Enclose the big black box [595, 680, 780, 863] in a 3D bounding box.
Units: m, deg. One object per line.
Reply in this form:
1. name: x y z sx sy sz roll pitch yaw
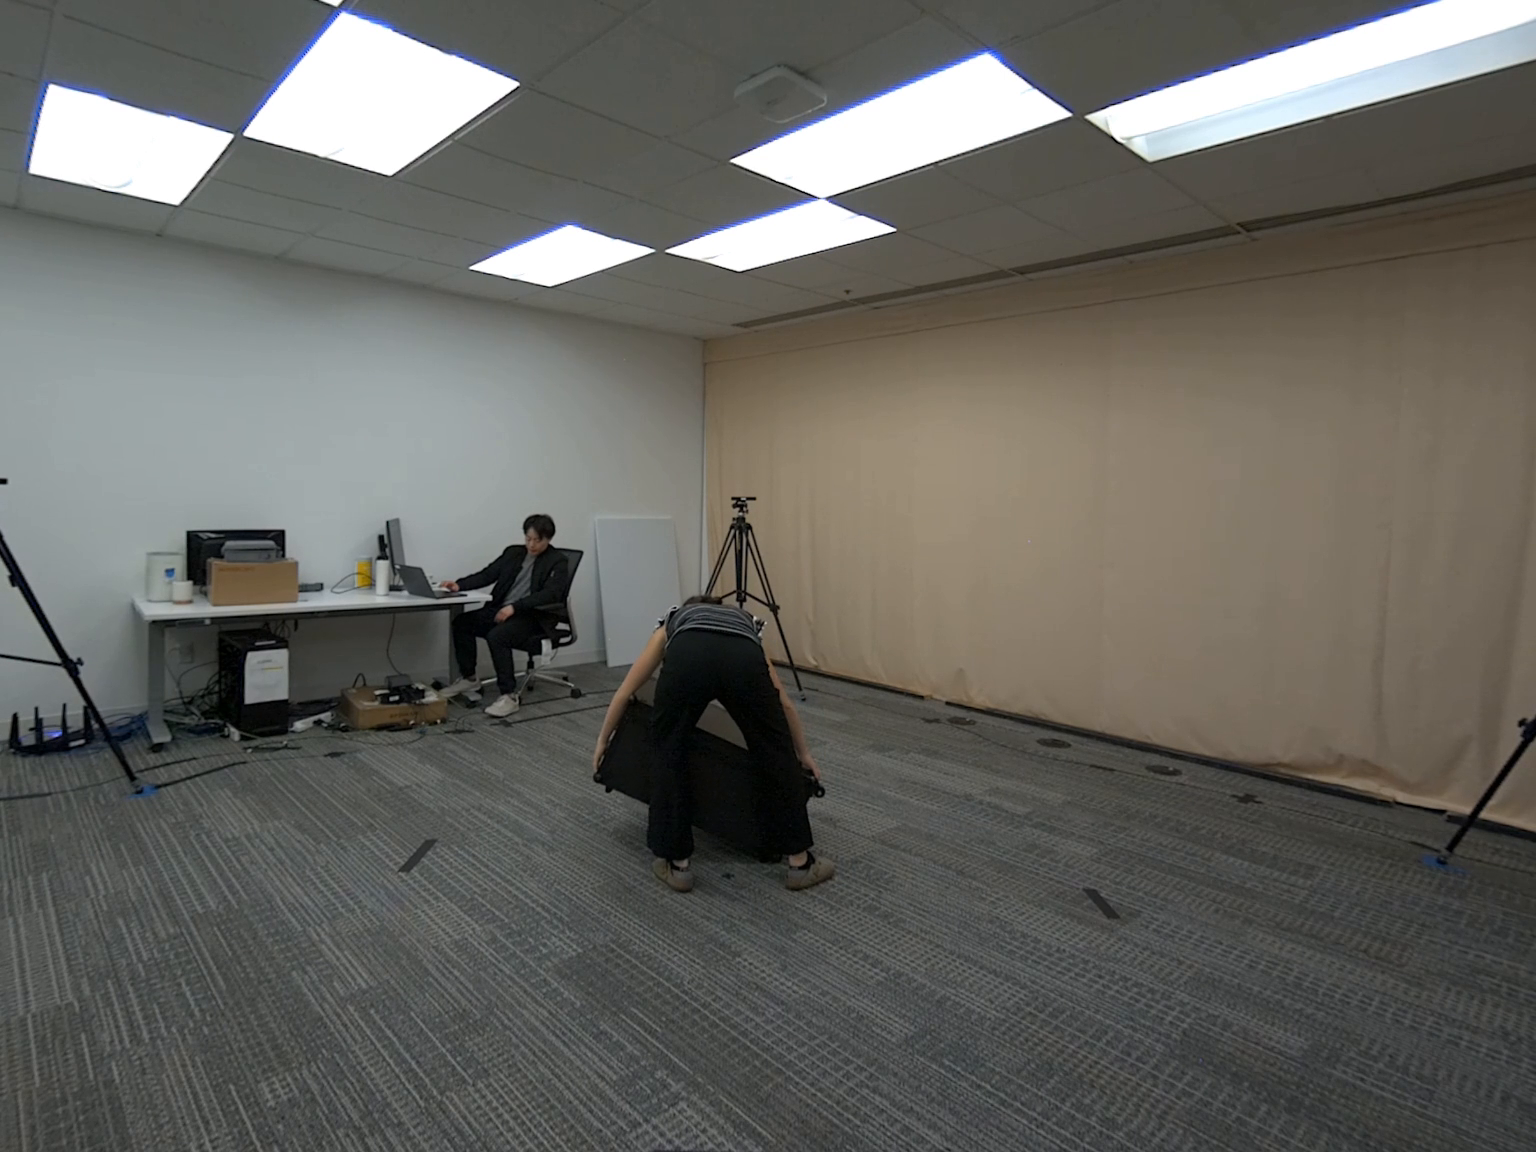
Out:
1. big black box: -0.236 0.776 3.448 0.858 0.396 0.524 24 3 -4
